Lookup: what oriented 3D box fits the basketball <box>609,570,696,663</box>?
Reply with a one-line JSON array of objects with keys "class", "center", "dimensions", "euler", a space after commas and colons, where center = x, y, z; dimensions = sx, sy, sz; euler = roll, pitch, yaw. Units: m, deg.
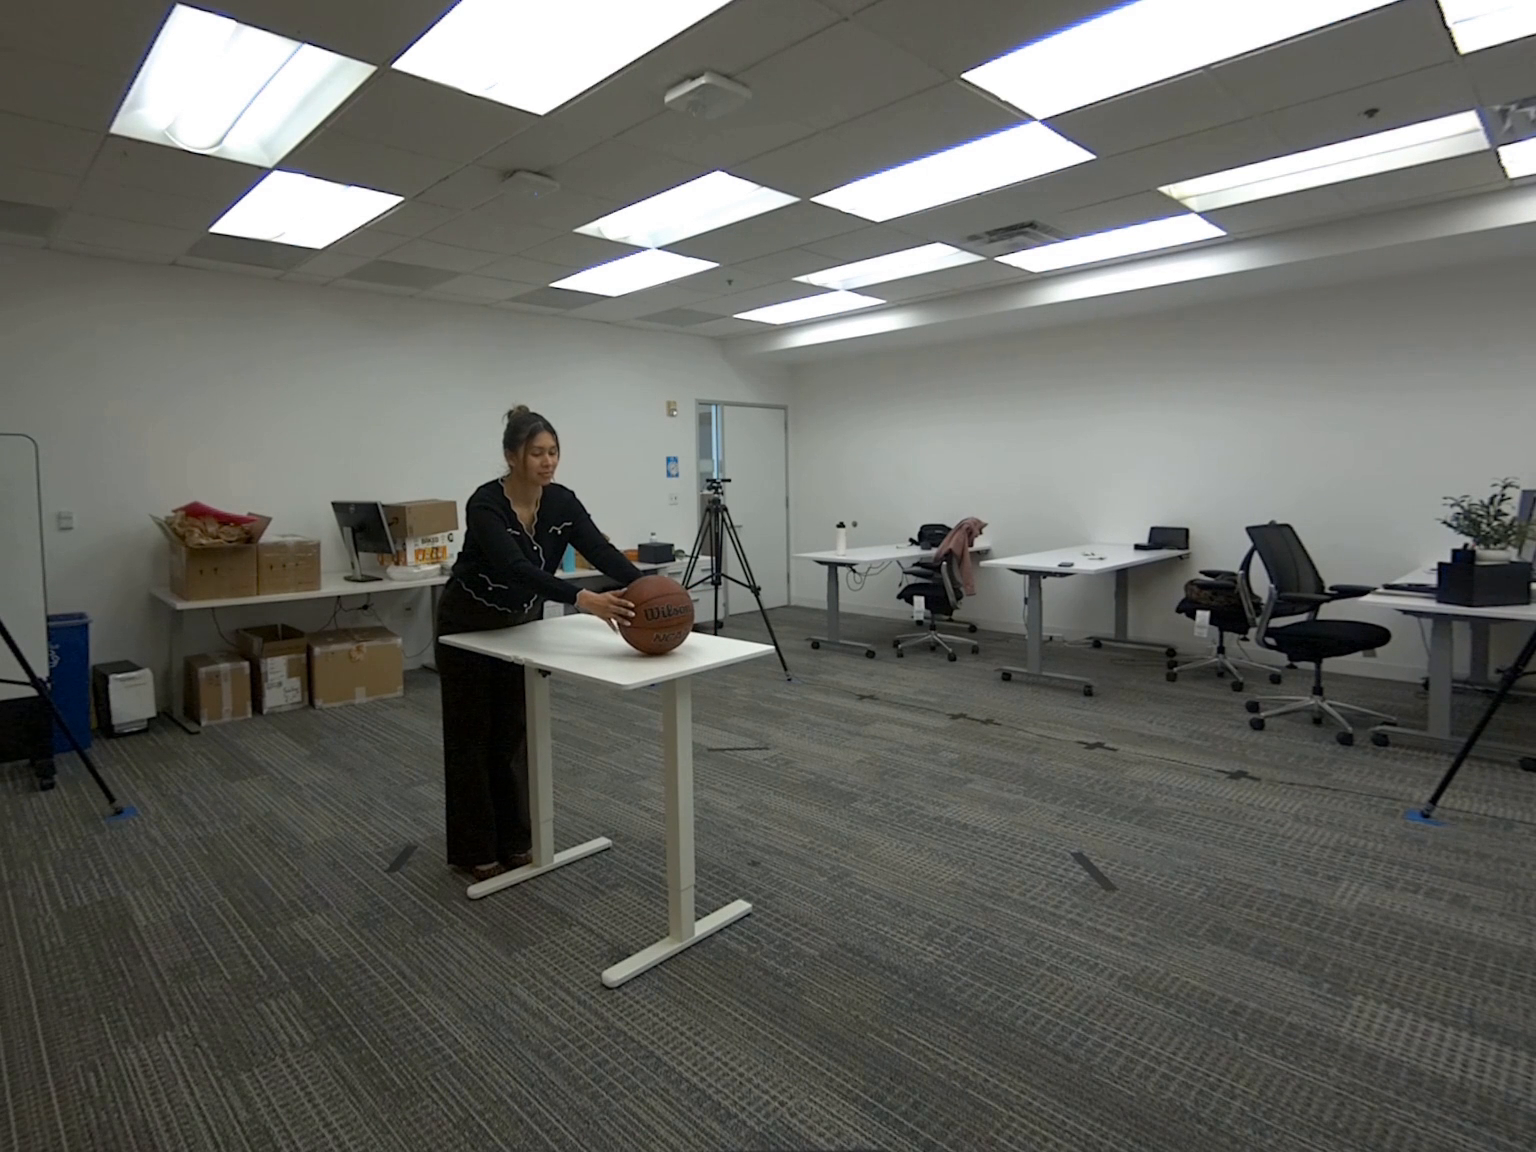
[{"class": "basketball", "center": [-0.342, 0.115, 2.575], "dimensions": [0.236, 0.235, 0.237], "euler": [-1, 5, -2]}]
